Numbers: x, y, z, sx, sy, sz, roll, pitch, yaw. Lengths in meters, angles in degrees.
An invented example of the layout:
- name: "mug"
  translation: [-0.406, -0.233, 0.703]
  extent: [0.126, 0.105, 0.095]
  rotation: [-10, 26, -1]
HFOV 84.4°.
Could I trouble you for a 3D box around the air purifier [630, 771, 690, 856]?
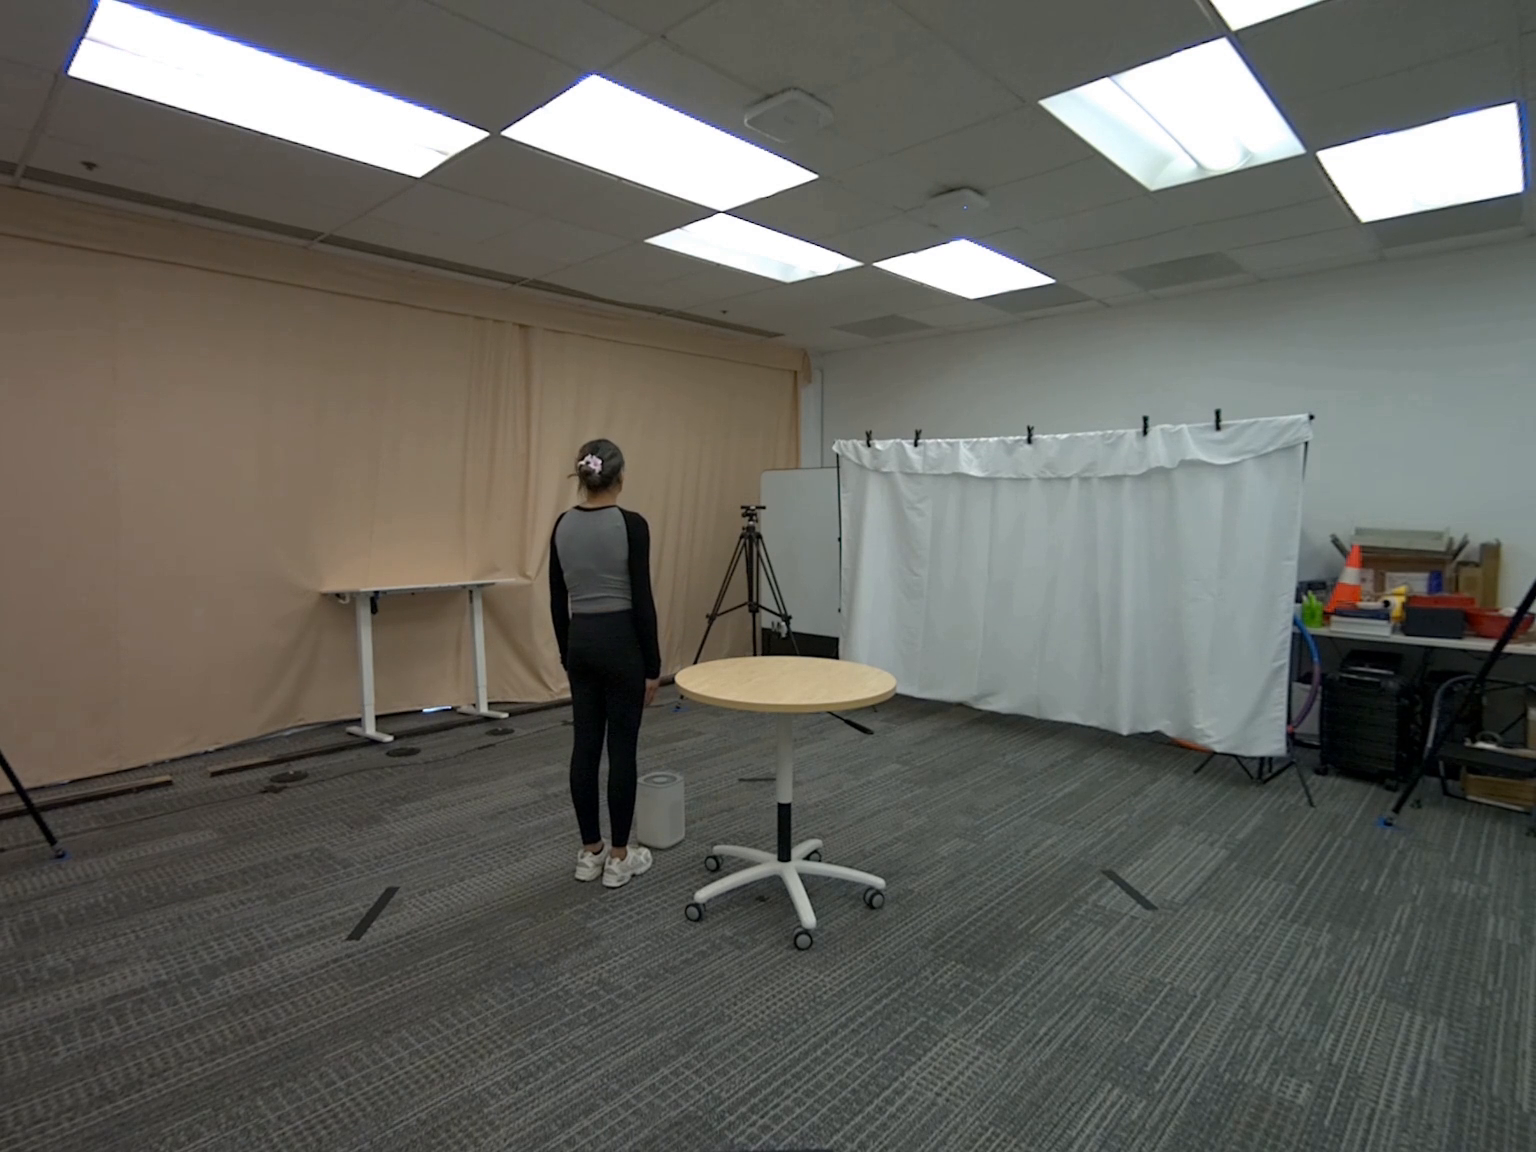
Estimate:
- name: "air purifier"
  translation: [-0.449, 0.970, 3.488]
  extent: [0.176, 0.265, 0.167]
  rotation: [2, 4, 34]
